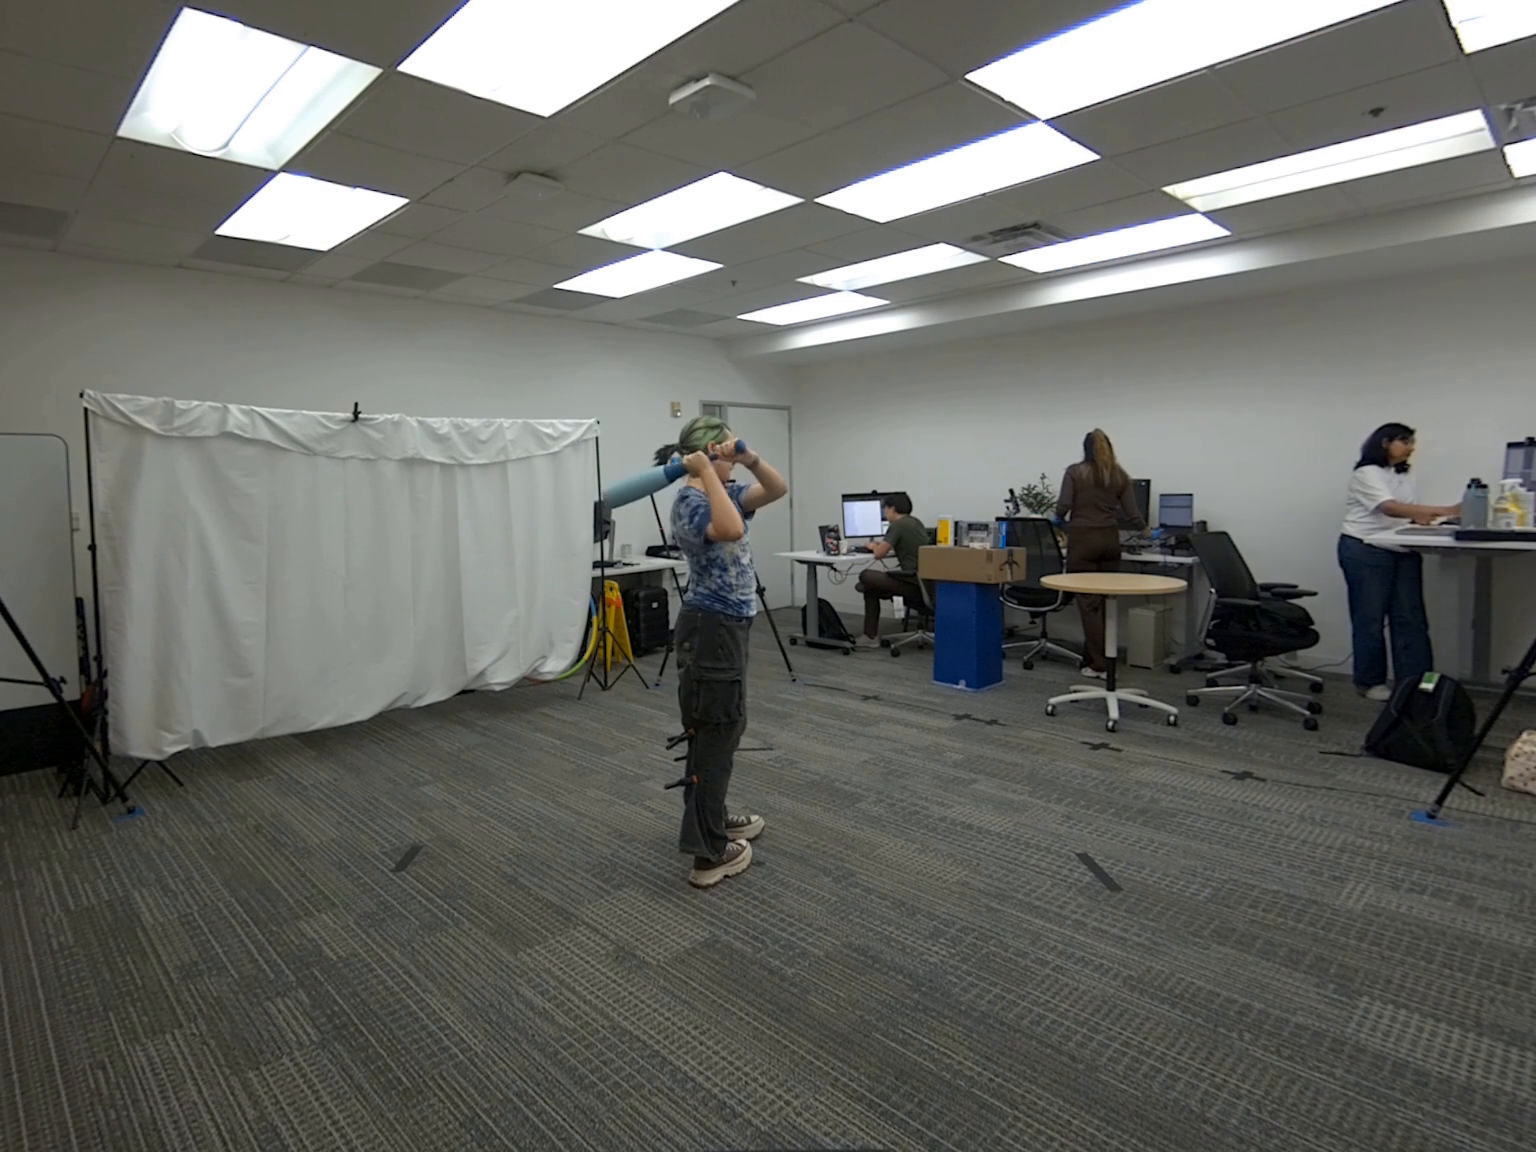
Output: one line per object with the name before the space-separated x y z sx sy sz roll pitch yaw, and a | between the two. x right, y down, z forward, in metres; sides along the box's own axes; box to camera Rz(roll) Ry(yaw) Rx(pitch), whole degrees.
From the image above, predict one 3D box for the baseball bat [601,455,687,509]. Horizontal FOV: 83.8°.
baseball bat | -0.310 -0.355 2.946 0.547 0.089 0.088 -20 1 13
